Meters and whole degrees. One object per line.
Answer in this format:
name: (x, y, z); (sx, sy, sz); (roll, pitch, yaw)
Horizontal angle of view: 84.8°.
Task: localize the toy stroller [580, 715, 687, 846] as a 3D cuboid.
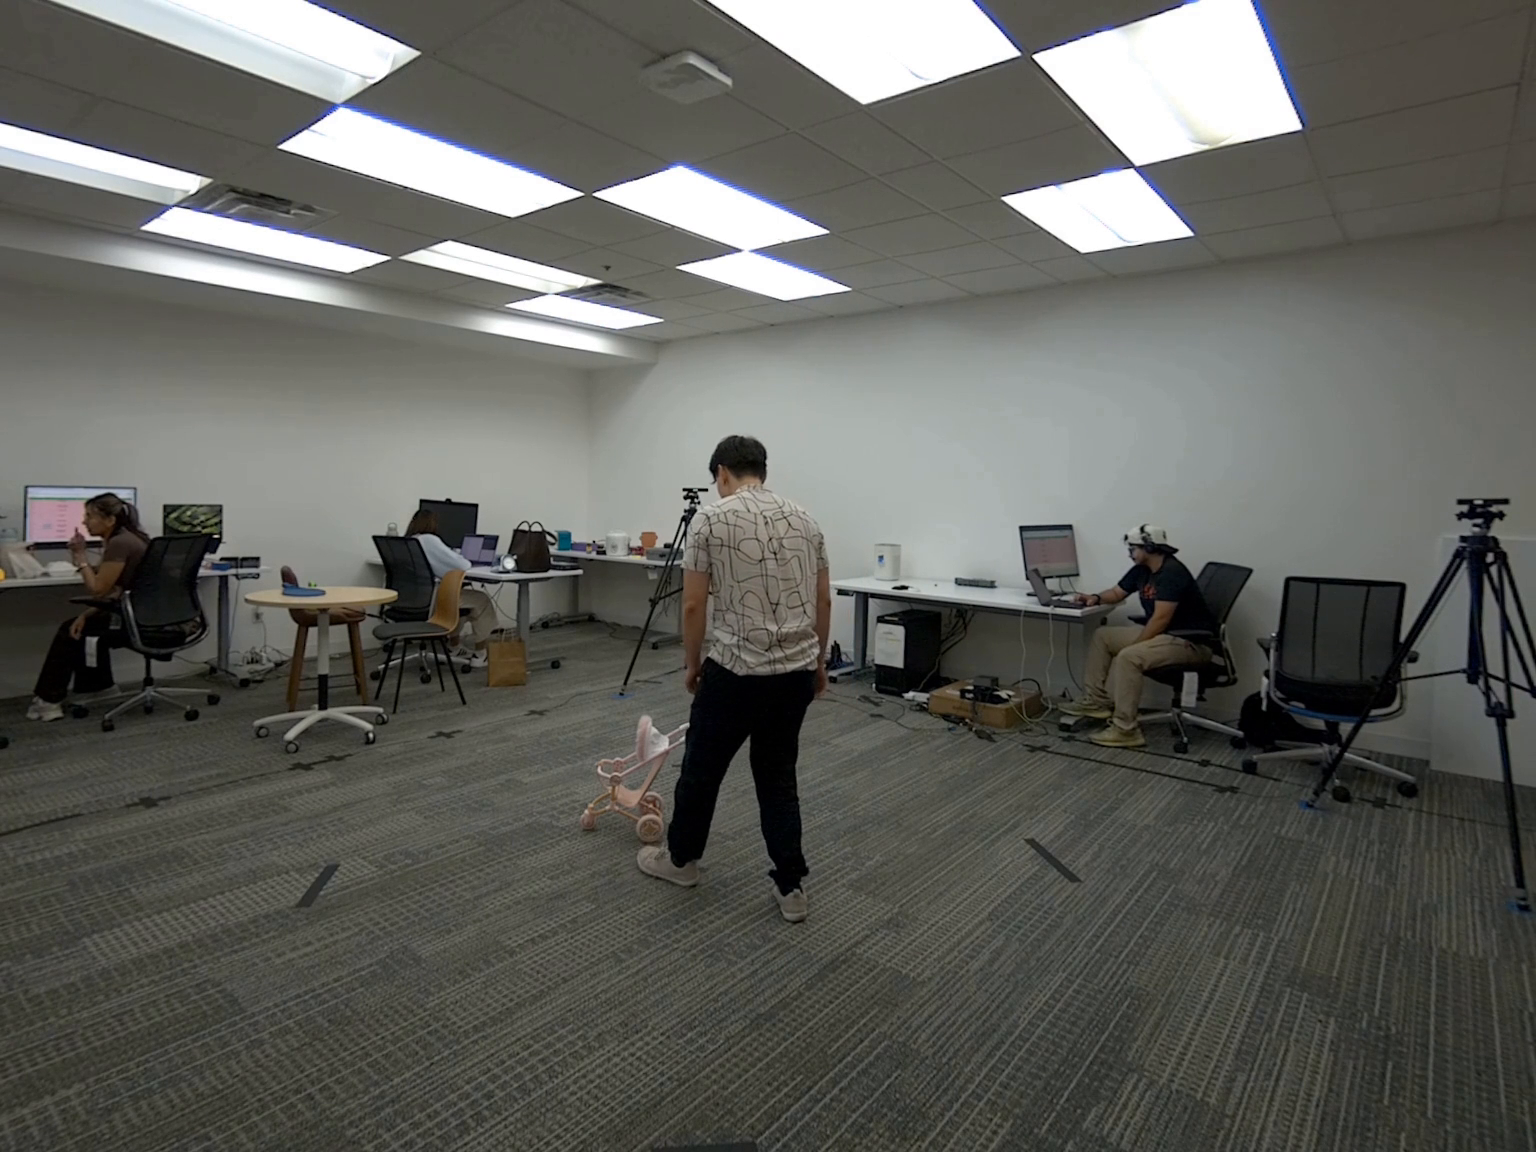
toy stroller: (-0.548, 0.809, 3.456); (0.341, 0.534, 0.282); (18, 3, -2)
